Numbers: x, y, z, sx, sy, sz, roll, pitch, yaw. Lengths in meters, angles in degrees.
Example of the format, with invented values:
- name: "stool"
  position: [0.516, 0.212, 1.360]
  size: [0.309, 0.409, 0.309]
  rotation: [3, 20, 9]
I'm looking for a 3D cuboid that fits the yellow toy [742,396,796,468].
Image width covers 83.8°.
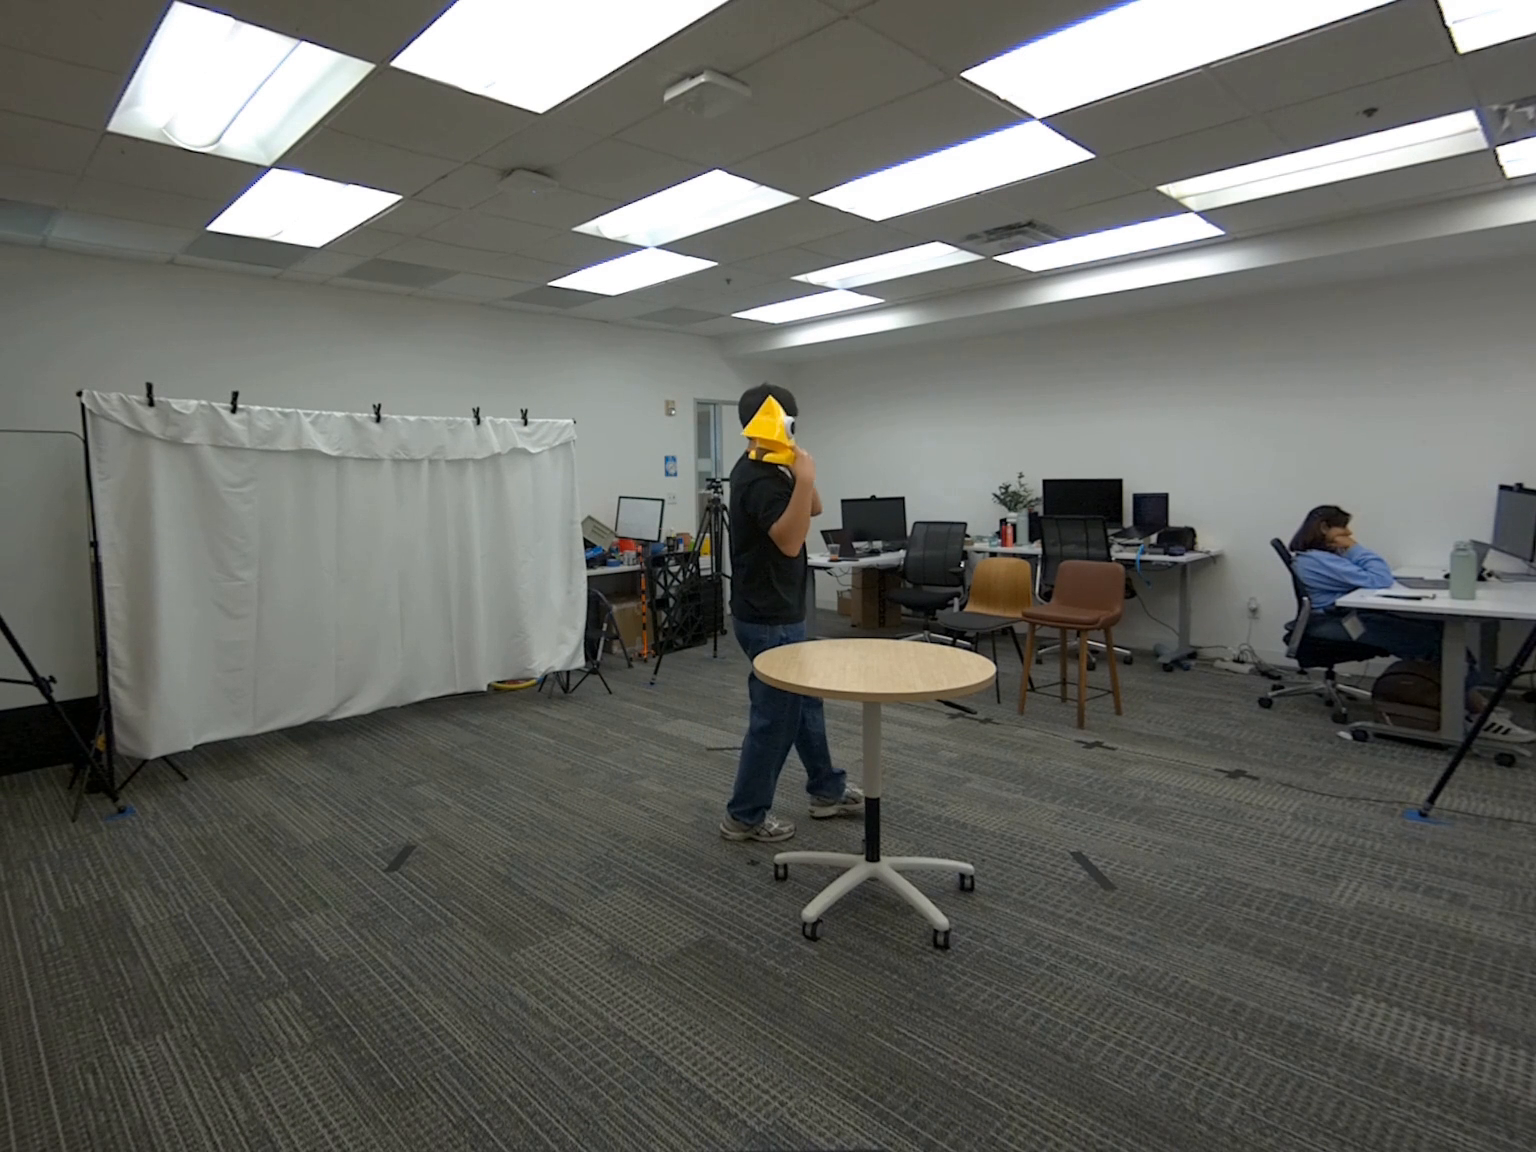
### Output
- name: "yellow toy"
  position: [0.040, -0.525, 3.072]
  size: [0.187, 0.229, 0.212]
  rotation: [2, 10, -38]
